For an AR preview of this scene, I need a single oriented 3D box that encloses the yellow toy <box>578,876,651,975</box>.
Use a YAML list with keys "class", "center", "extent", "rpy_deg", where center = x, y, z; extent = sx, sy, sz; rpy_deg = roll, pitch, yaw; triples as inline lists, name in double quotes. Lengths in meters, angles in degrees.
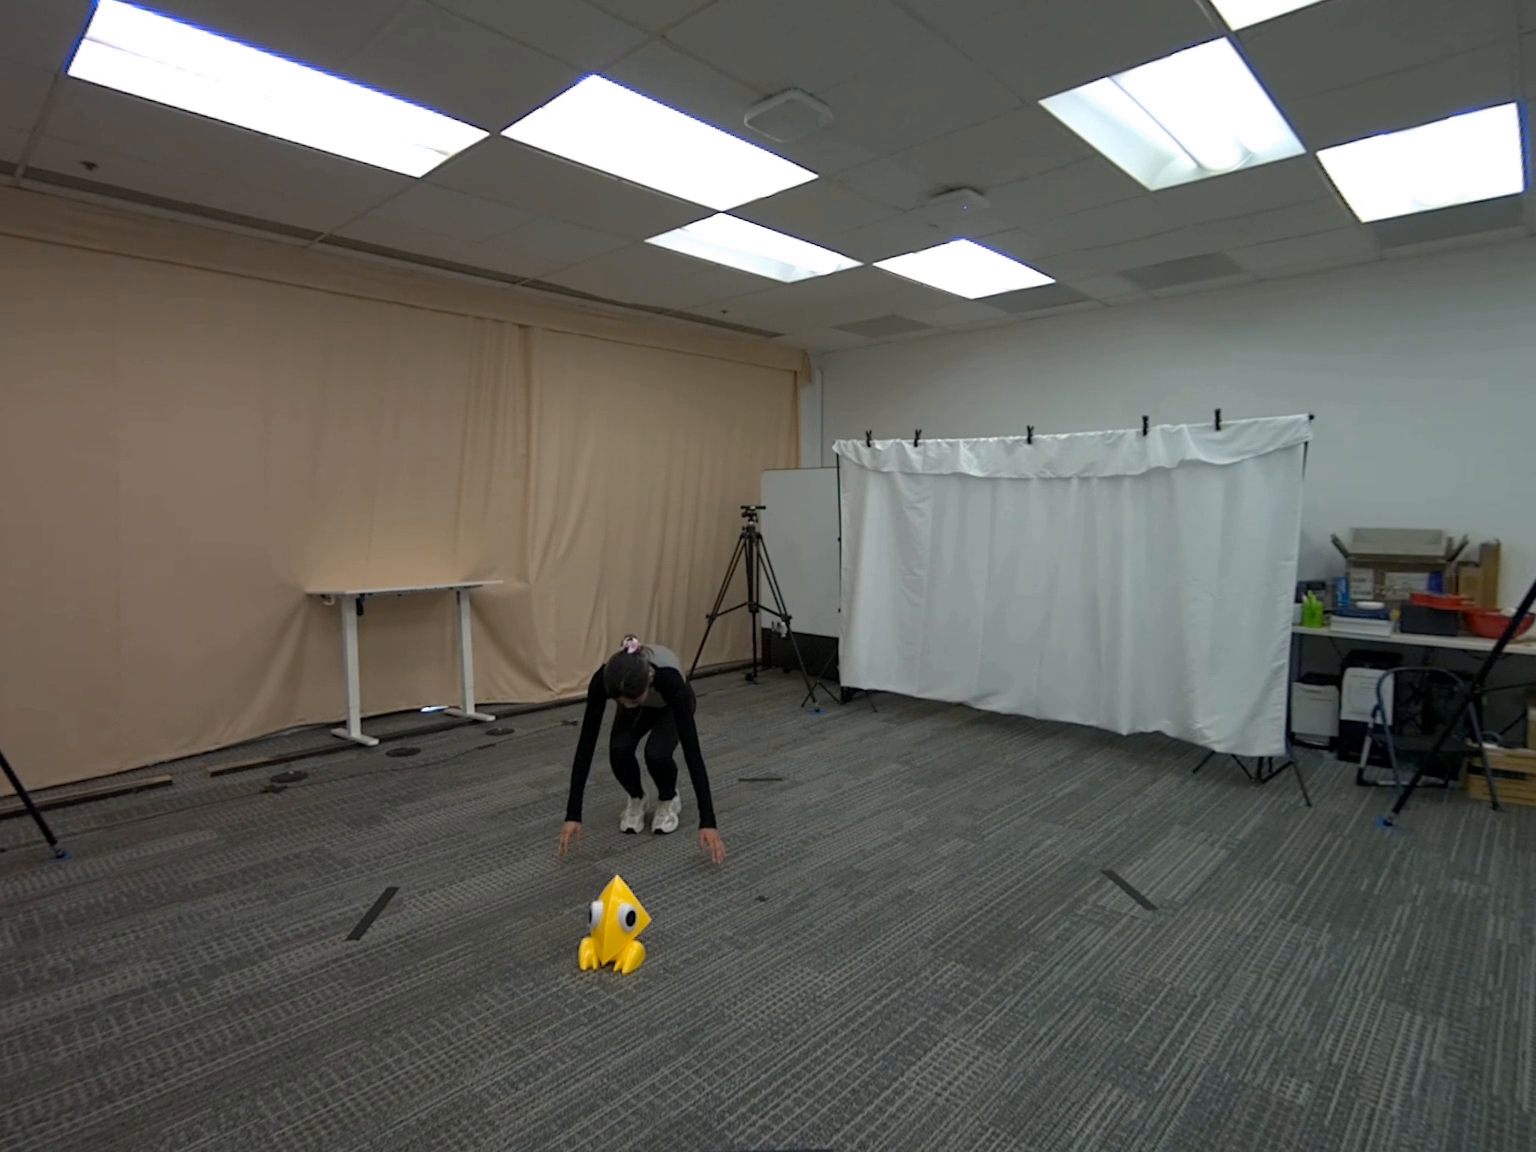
- class: "yellow toy"
  center: [-0.480, 1.068, 2.595]
  extent: [0.207, 0.230, 0.192]
  rpy_deg: [0, 5, 7]
